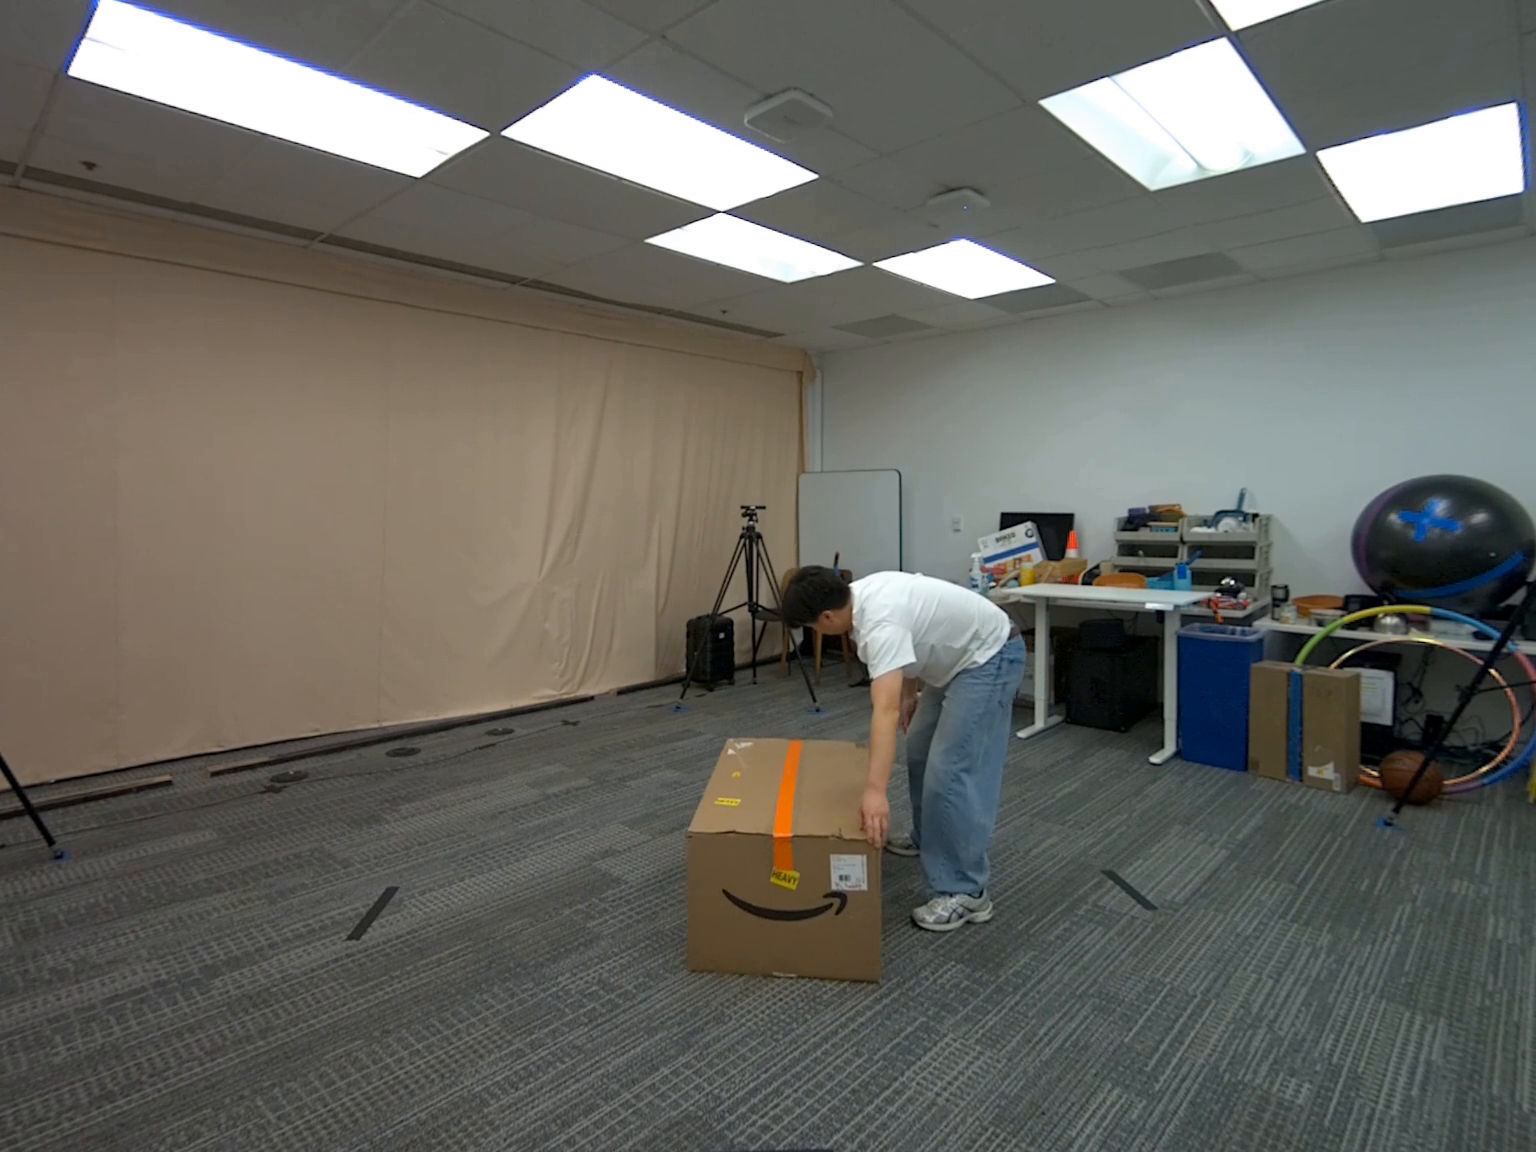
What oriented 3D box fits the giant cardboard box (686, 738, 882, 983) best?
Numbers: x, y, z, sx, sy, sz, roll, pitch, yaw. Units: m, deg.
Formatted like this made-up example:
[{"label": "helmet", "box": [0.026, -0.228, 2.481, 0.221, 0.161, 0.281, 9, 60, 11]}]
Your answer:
[{"label": "giant cardboard box", "box": [0.084, 0.926, 2.976, 0.581, 0.425, 1.022, 0, 5, 5]}]
